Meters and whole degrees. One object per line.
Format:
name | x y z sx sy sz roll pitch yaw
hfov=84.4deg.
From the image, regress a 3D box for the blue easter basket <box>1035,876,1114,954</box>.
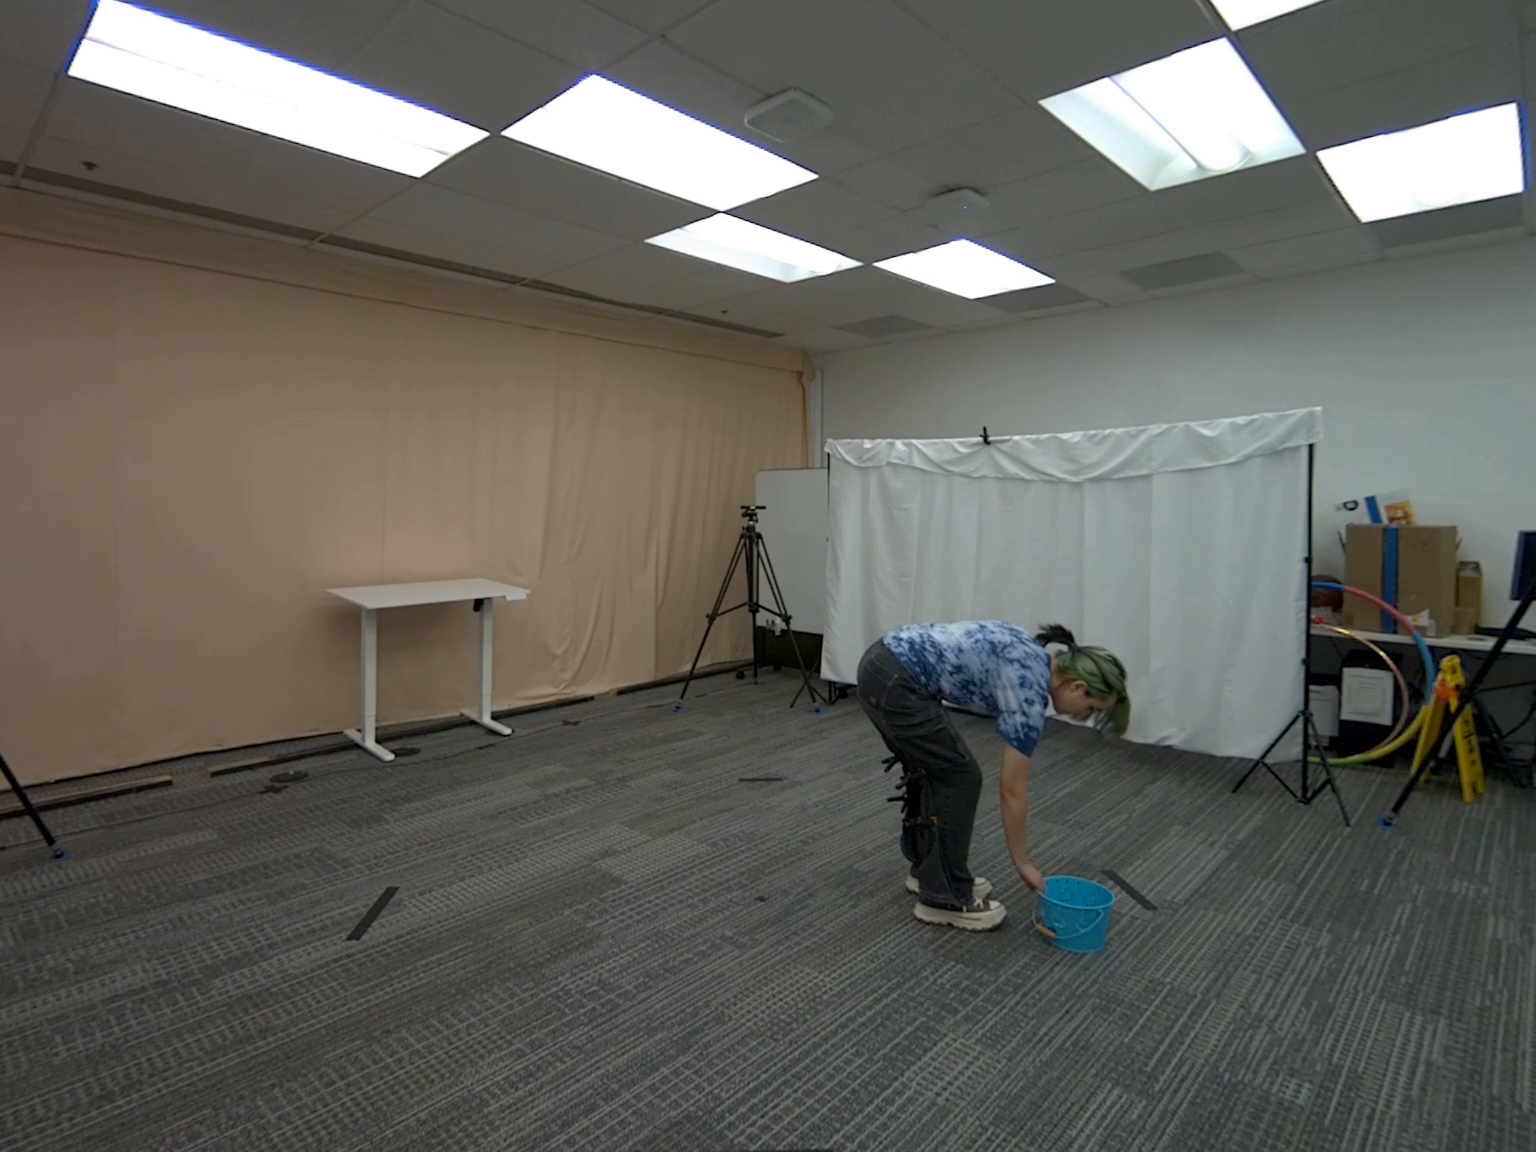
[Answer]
blue easter basket | 0.989 1.088 2.705 0.243 0.155 0.244 0 4 -2
